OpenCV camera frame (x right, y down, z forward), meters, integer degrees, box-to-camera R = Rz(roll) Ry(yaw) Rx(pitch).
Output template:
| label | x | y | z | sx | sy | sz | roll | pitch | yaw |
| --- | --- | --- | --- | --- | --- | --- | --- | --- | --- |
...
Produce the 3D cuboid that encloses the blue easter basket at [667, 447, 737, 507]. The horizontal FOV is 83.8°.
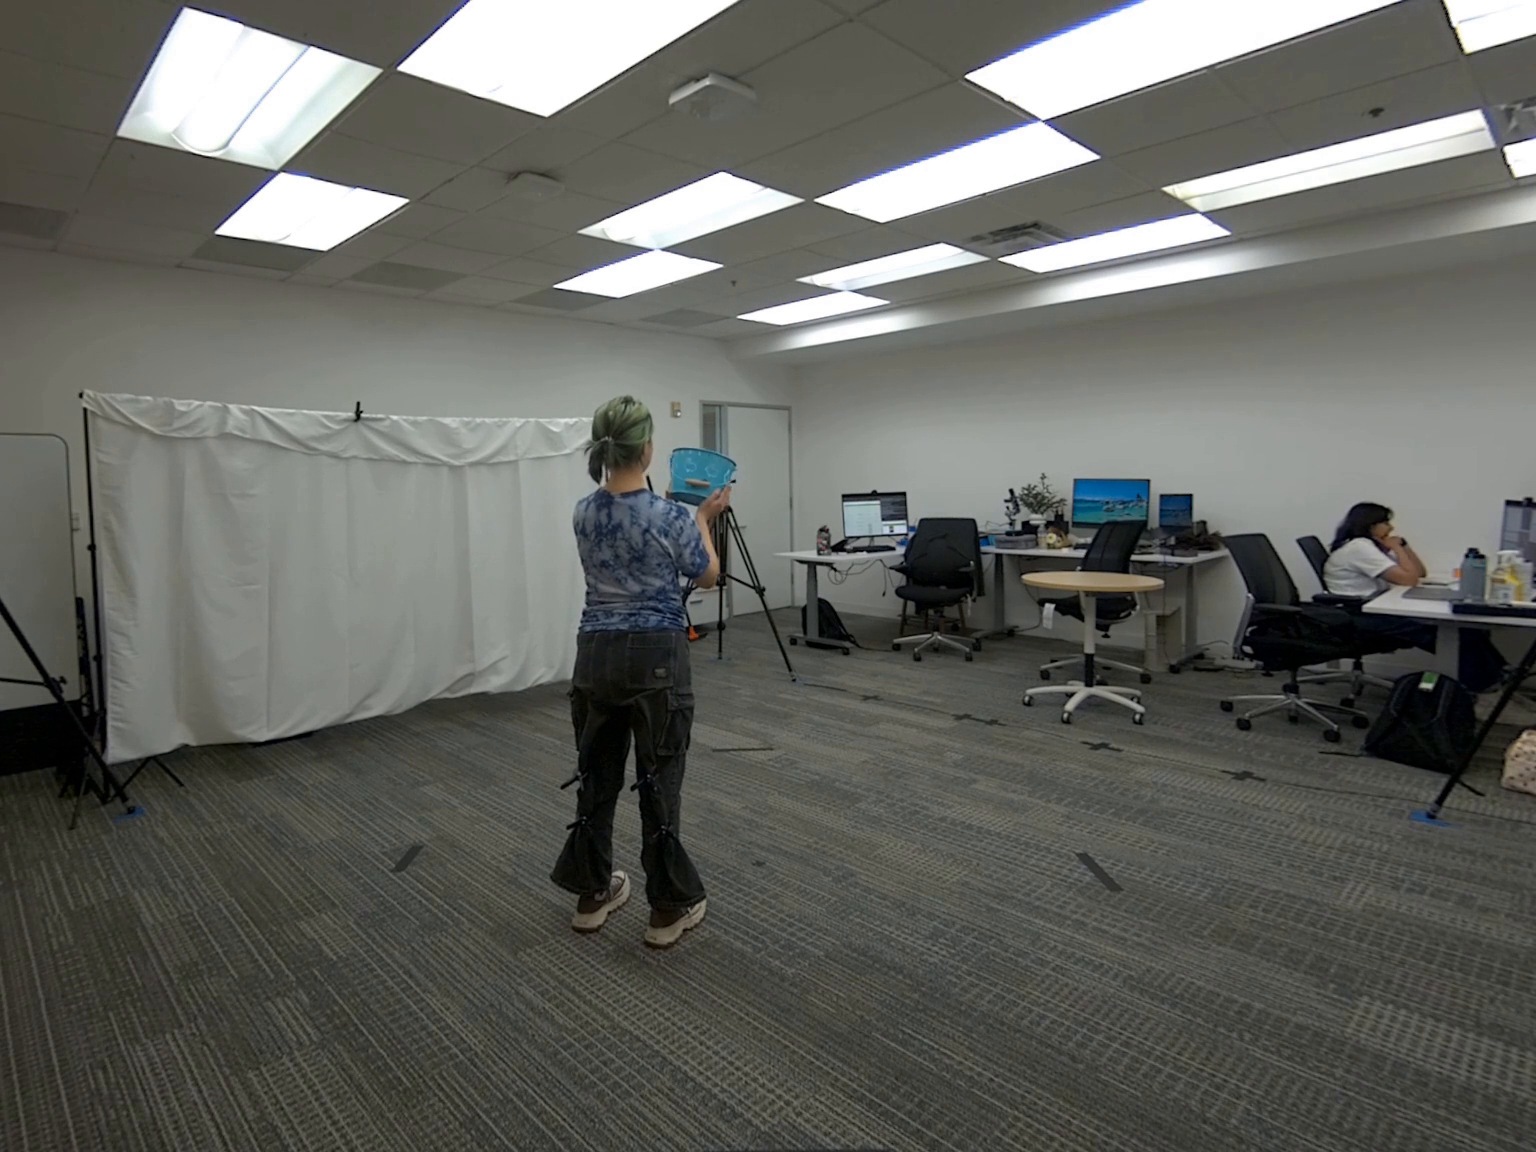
| label | x | y | z | sx | sy | sz | roll | pitch | yaw |
| --- | --- | --- | --- | --- | --- | --- | --- | --- | --- |
| blue easter basket | -0.242 | -0.342 | 2.952 | 0.244 | 0.157 | 0.241 | 11 | -10 | 0 |
